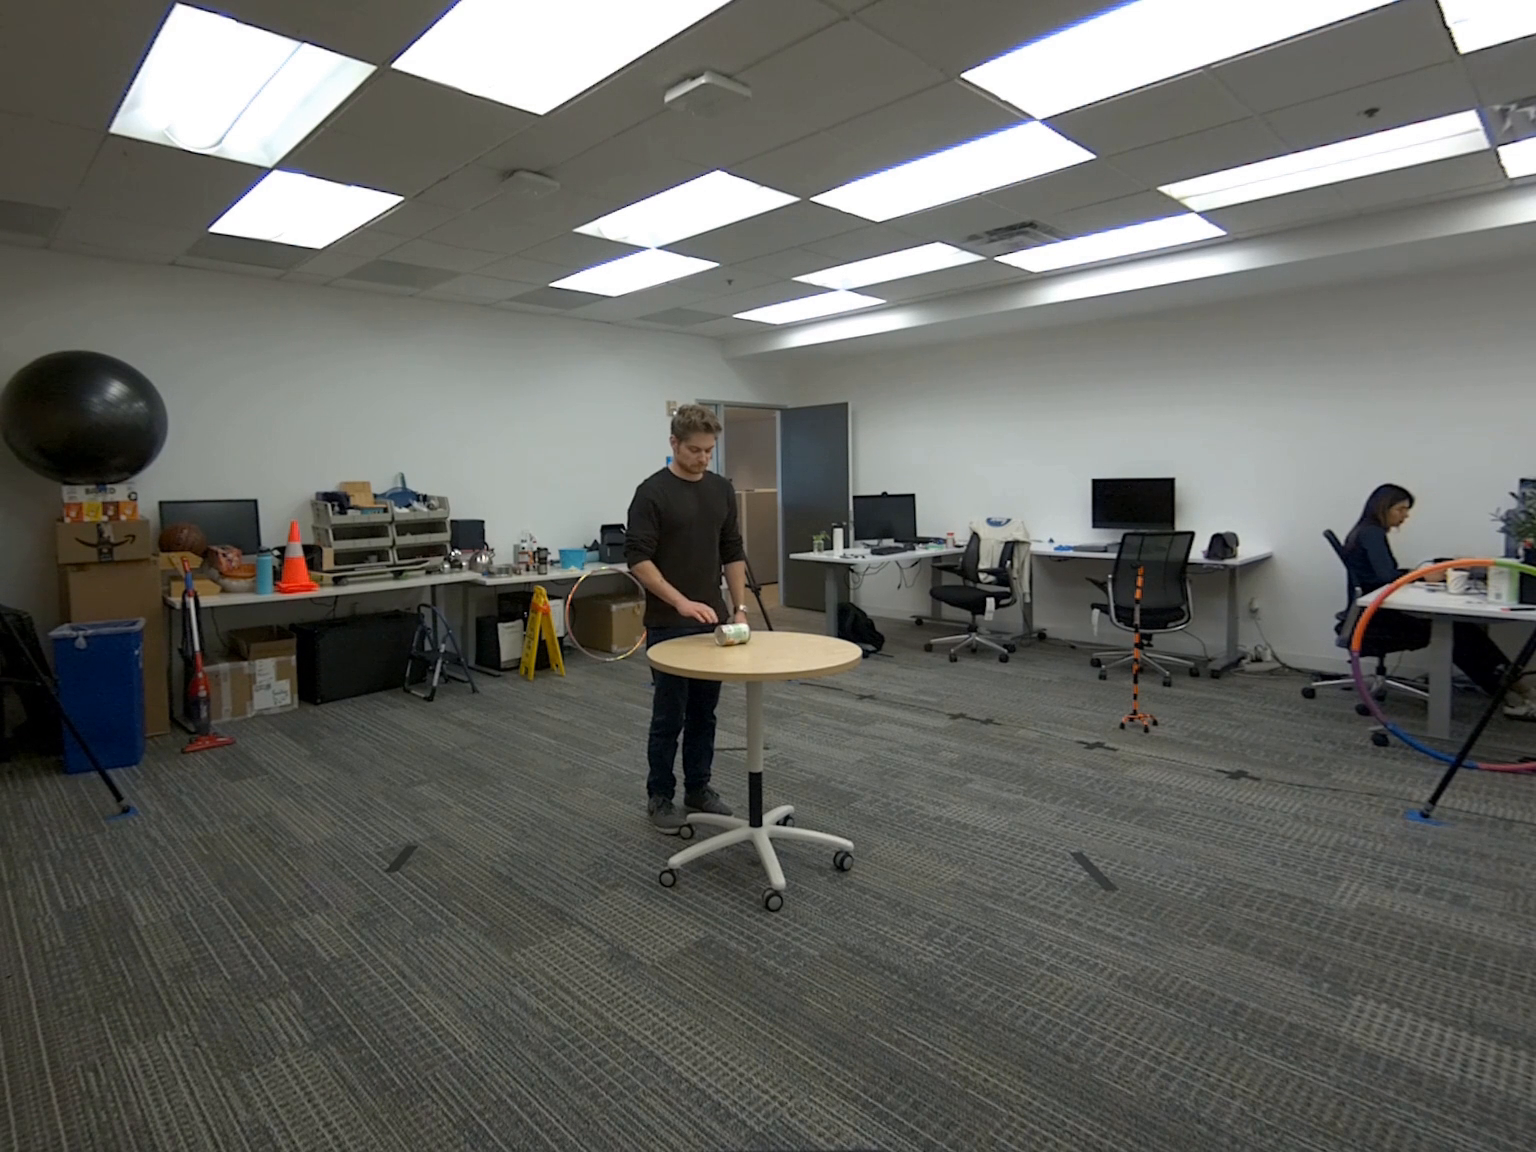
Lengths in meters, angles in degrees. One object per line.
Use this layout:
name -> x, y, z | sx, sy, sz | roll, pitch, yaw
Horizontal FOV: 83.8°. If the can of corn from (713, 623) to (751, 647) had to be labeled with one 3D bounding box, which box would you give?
can of corn -> -0.130, 0.217, 3.158 | 0.108, 0.074, 0.076 | -5, 6, -33
